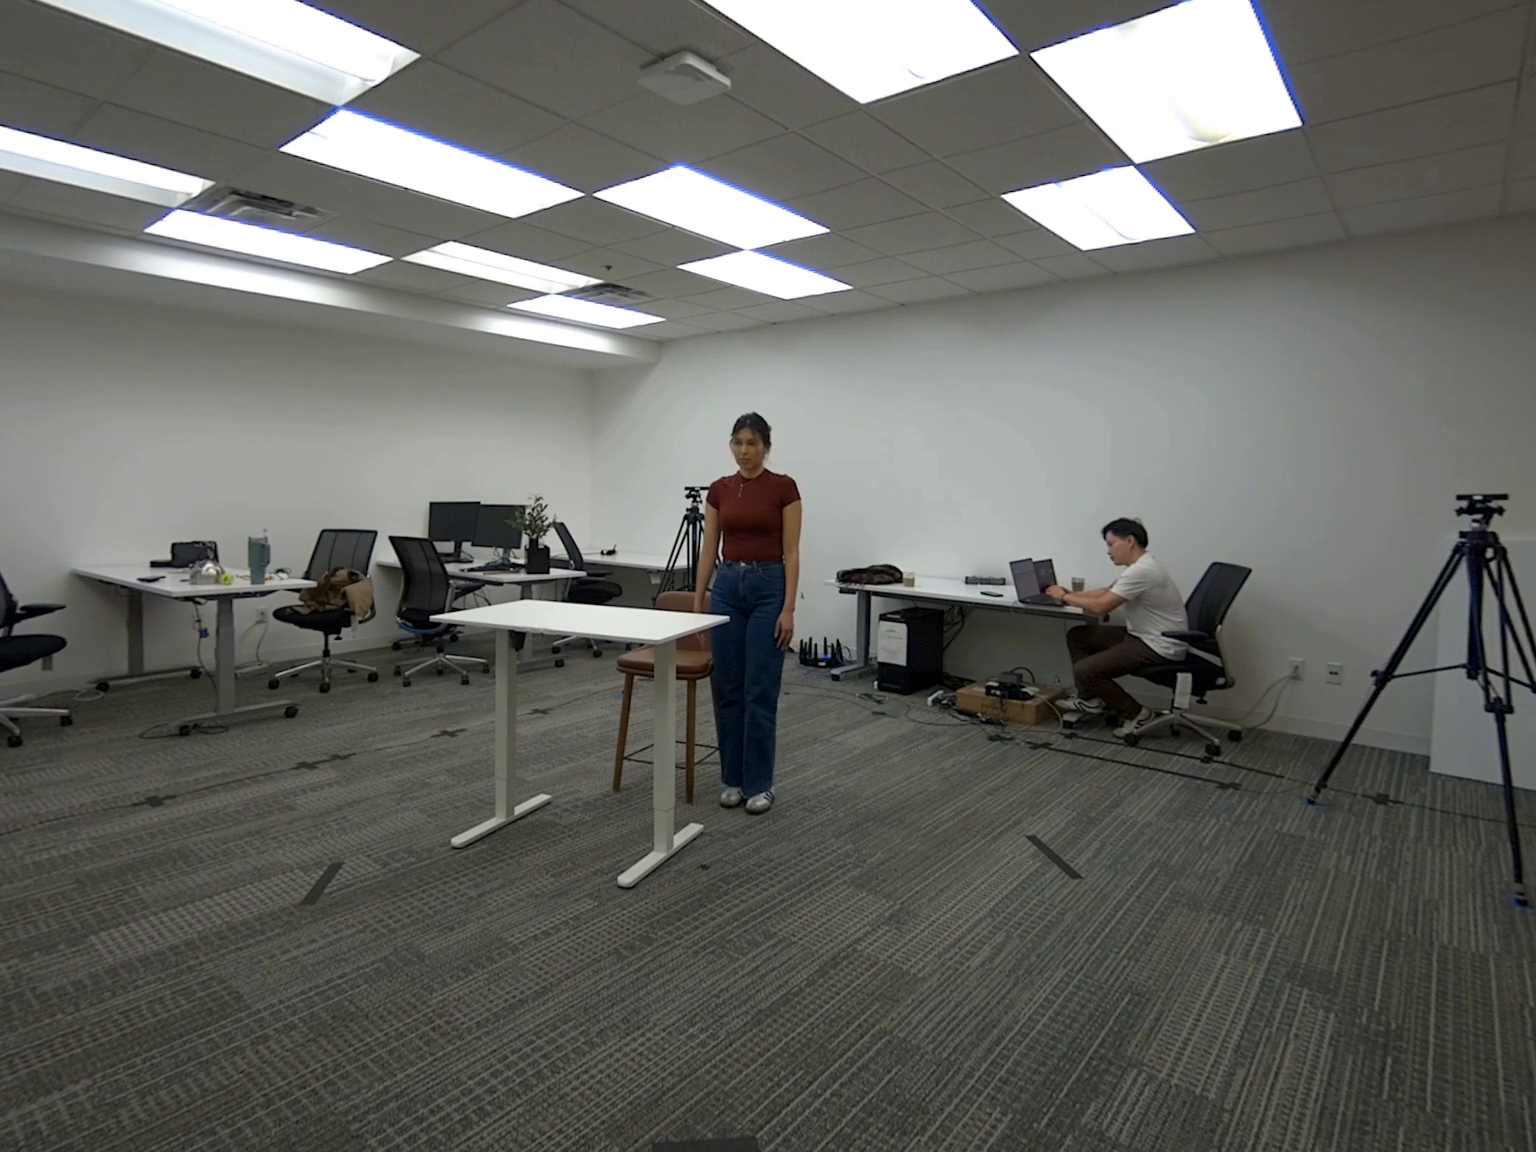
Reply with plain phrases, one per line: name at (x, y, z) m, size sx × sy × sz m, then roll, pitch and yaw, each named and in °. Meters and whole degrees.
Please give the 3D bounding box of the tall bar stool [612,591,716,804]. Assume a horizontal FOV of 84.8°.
tall bar stool at (-0.457, 0.538, 4.004) m, size 0.468 × 0.888 × 0.457 m, roll 1°, pitch 2°, yaw 24°
